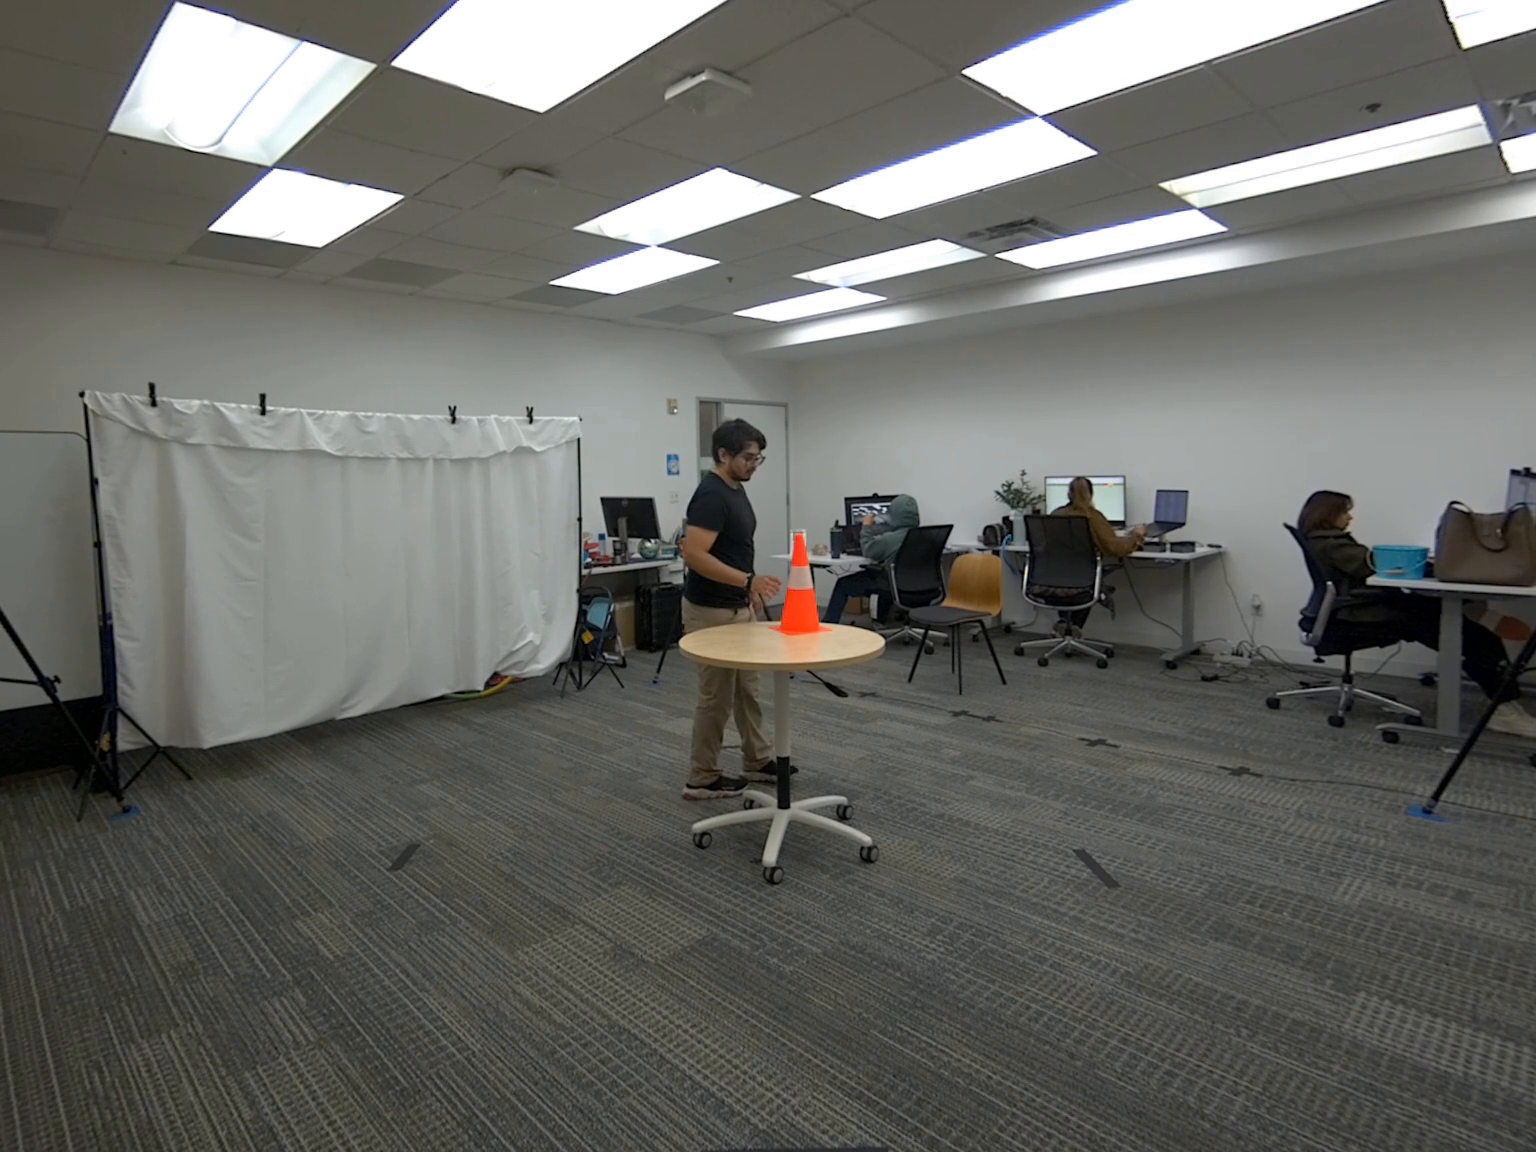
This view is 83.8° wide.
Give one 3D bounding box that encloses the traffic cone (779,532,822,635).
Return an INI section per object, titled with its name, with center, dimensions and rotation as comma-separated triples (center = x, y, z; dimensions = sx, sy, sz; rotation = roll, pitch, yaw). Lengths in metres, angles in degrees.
[traffic cone]
center = 0.123, 0.025, 3.397
dimensions = 0.200, 0.381, 0.209
rotation = -6, 7, -29
